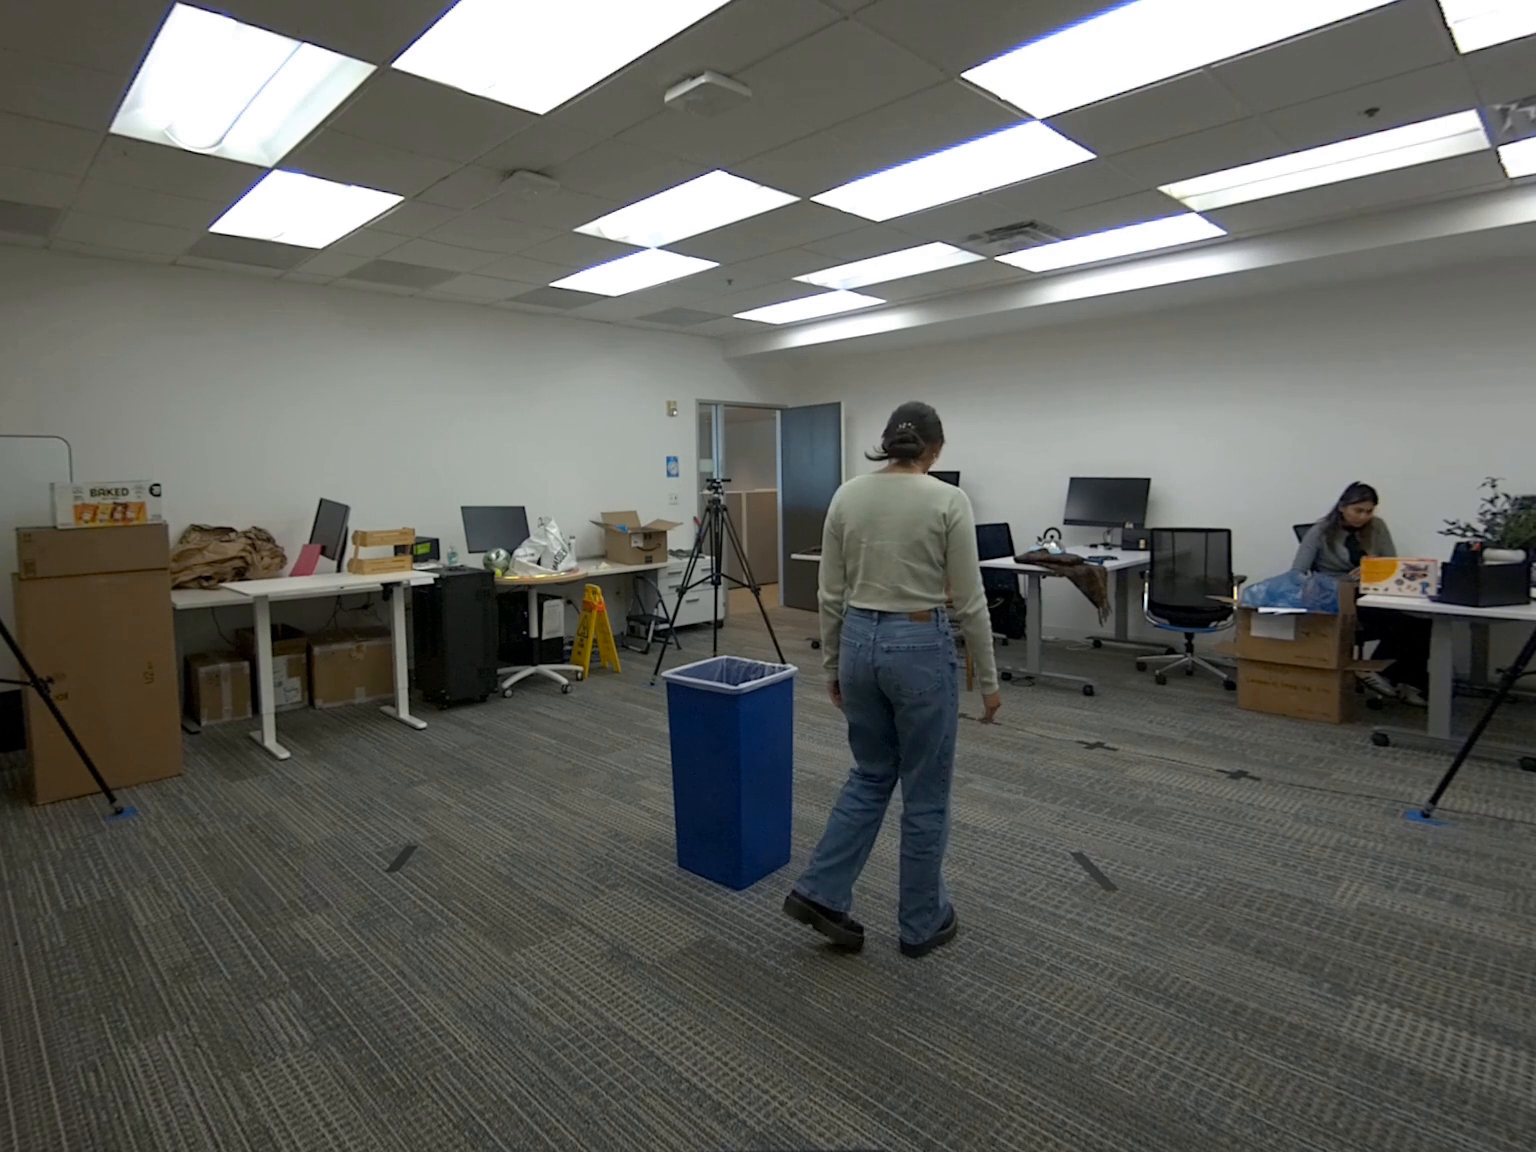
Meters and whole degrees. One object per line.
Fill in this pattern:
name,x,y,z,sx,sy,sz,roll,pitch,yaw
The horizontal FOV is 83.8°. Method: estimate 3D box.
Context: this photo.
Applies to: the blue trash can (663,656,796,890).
blue trash can,-0.127,0.690,3.071,0.389,0.711,0.364,2,5,39
